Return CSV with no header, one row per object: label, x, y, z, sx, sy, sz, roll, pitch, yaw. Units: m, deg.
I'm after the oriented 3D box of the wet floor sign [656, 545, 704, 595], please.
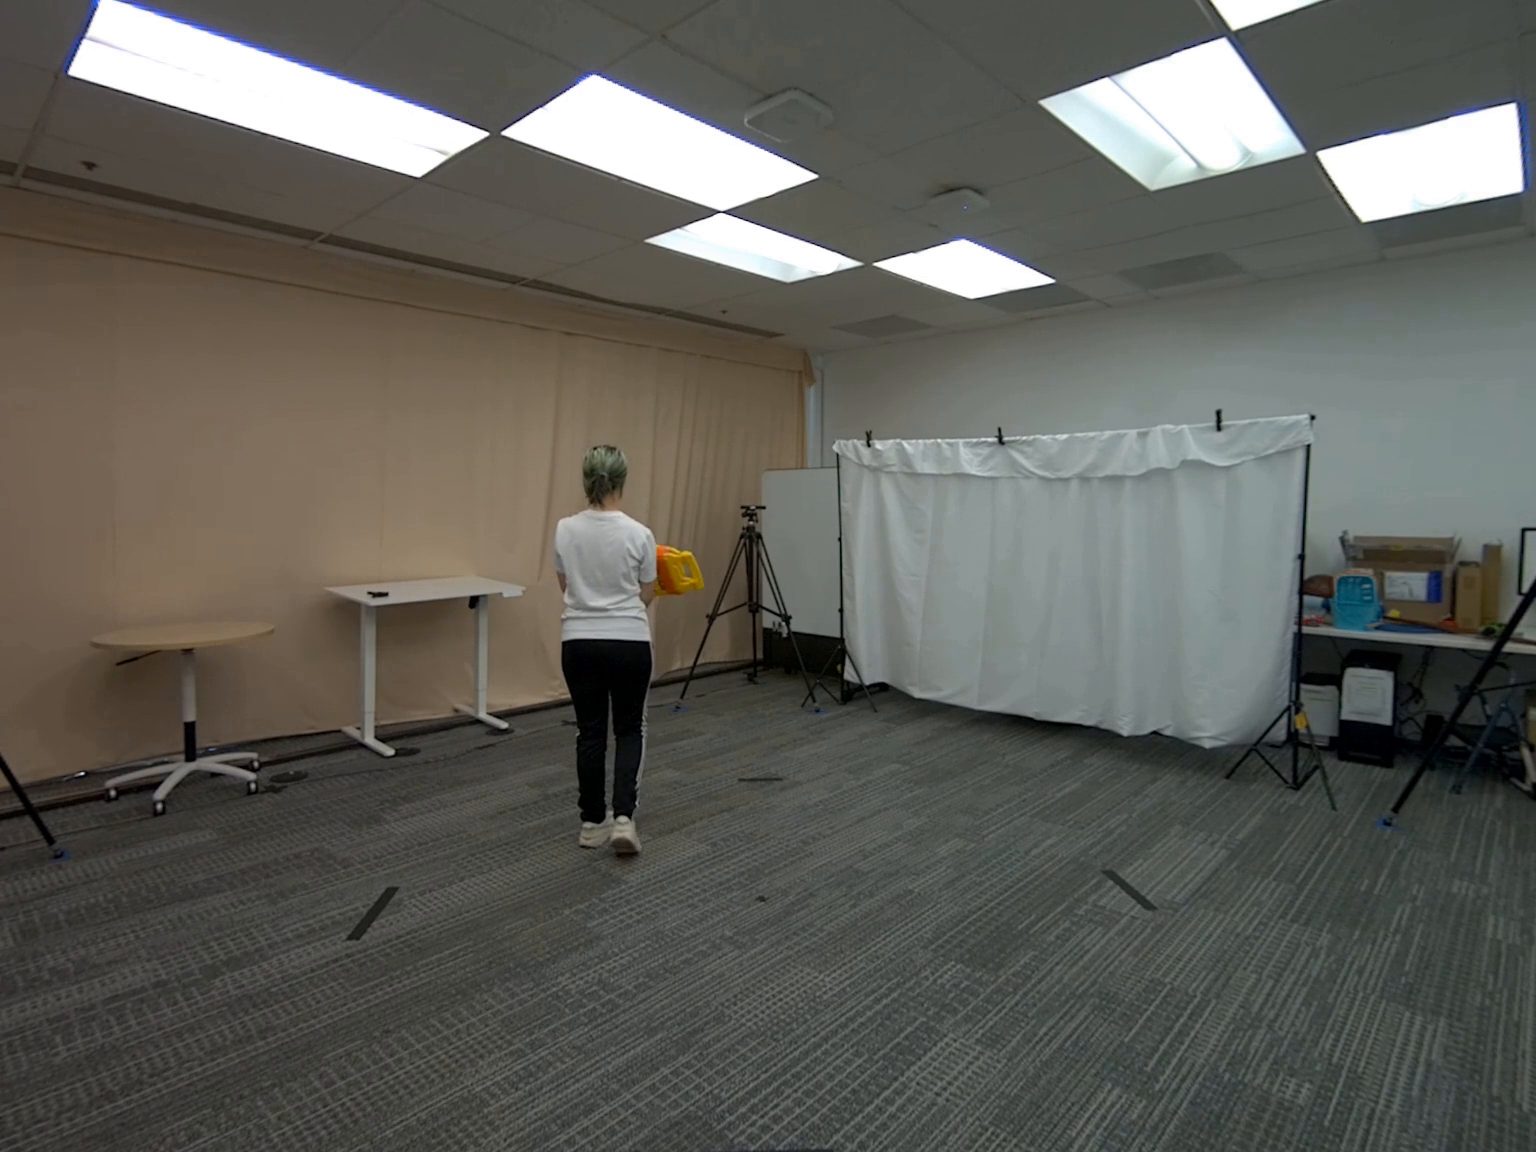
wet floor sign,-0.612,-0.021,3.819,0.661,0.275,0.291,-1,39,22
